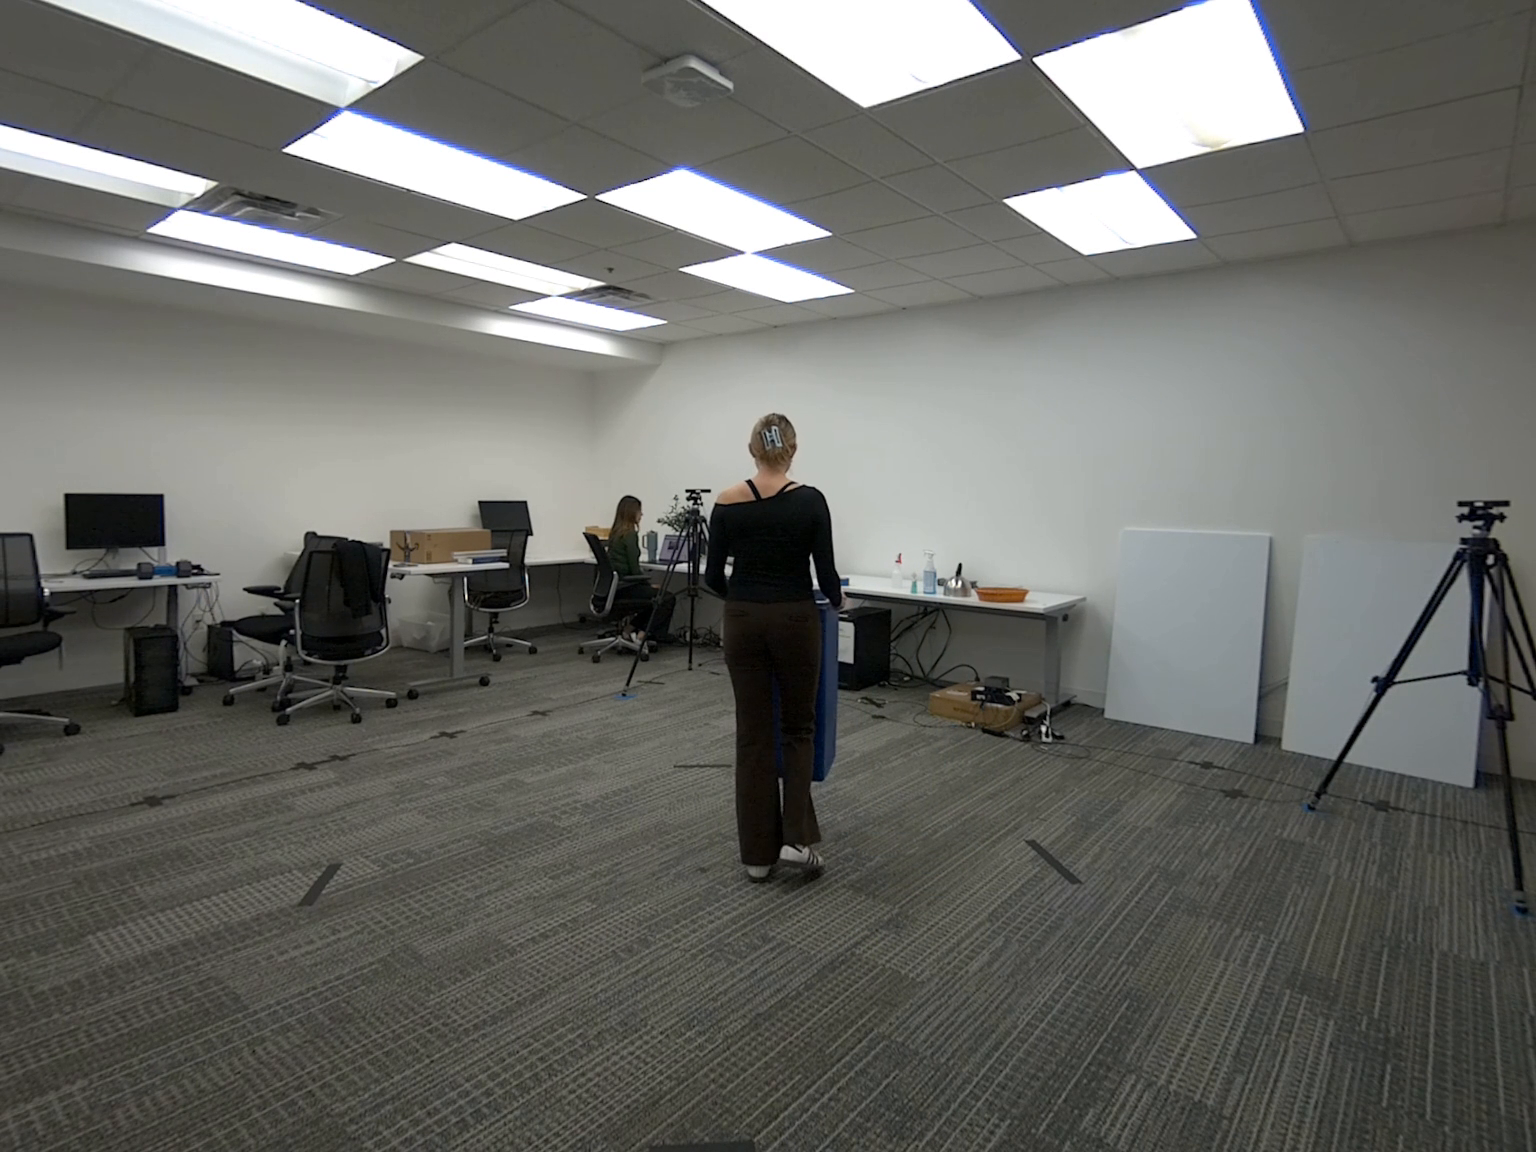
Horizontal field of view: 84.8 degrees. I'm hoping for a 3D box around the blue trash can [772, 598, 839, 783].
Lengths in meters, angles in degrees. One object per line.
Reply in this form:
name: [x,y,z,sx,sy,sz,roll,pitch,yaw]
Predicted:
blue trash can: [0.090,0.426,3.460,0.381,0.710,0.373,2,5,16]
